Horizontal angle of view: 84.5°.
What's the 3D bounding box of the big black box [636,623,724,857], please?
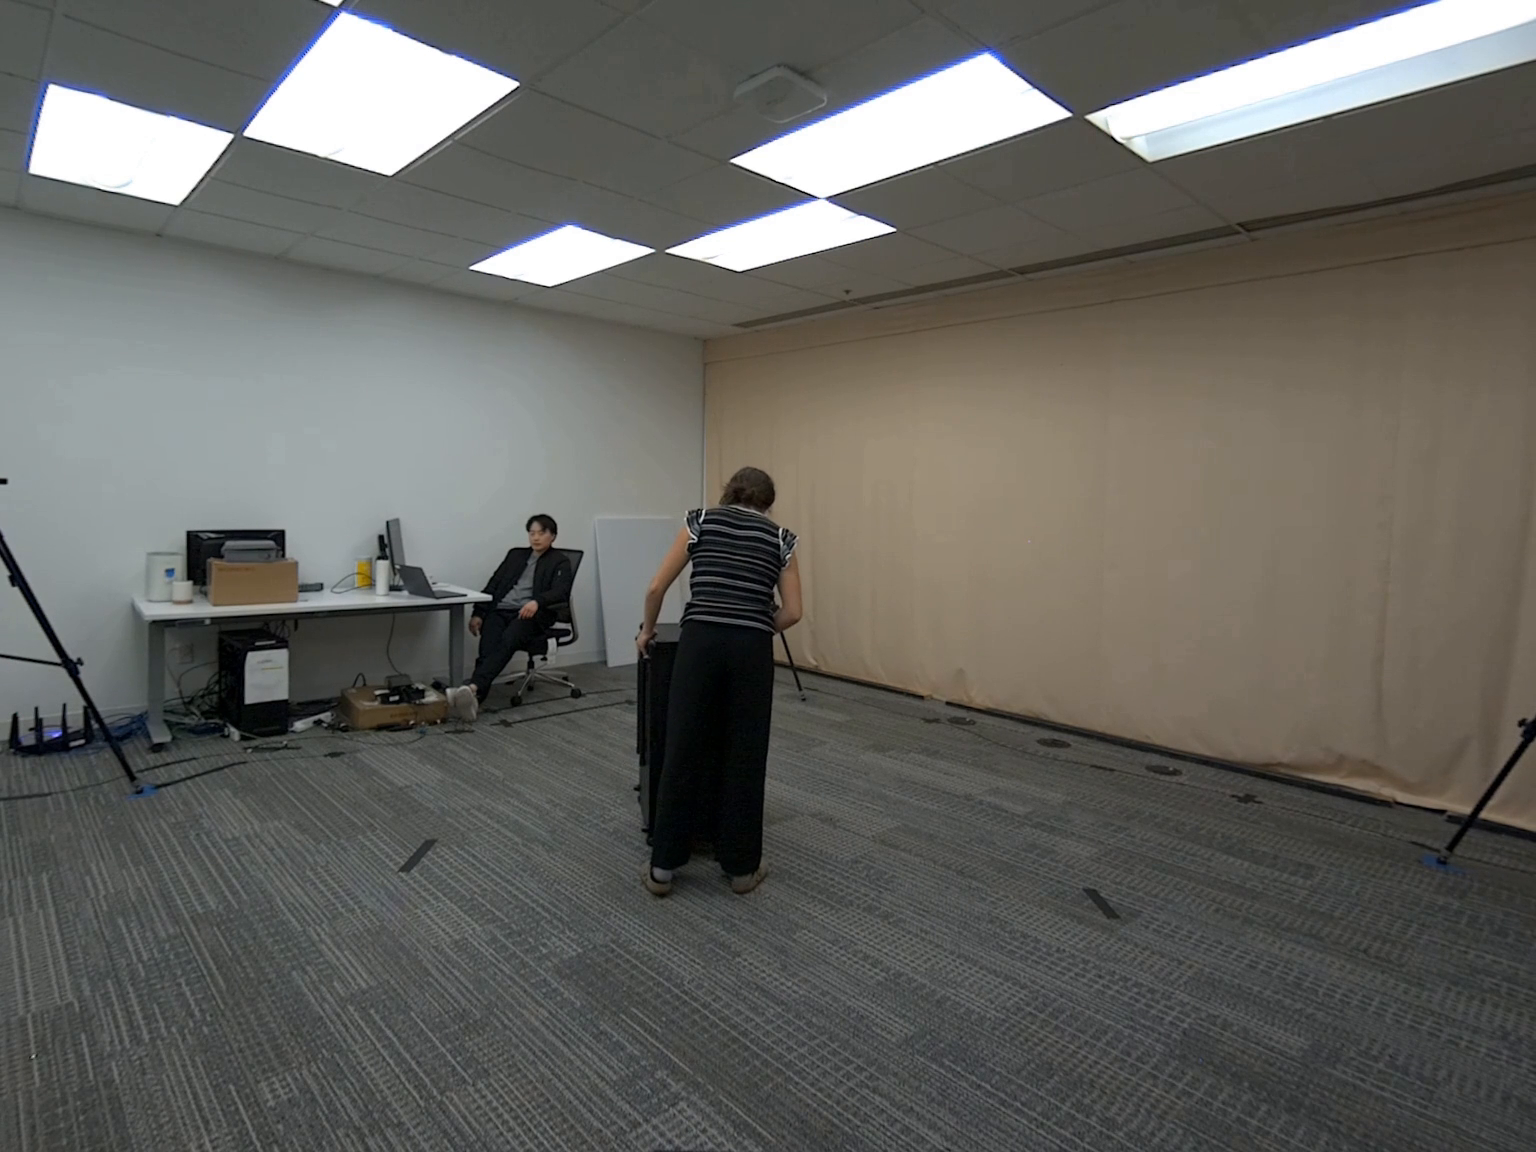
[{"bbox_3d":[-0.347,0.649,3.428,0.393,0.859,0.527,0,3,-12],"label":"big black box"}]
